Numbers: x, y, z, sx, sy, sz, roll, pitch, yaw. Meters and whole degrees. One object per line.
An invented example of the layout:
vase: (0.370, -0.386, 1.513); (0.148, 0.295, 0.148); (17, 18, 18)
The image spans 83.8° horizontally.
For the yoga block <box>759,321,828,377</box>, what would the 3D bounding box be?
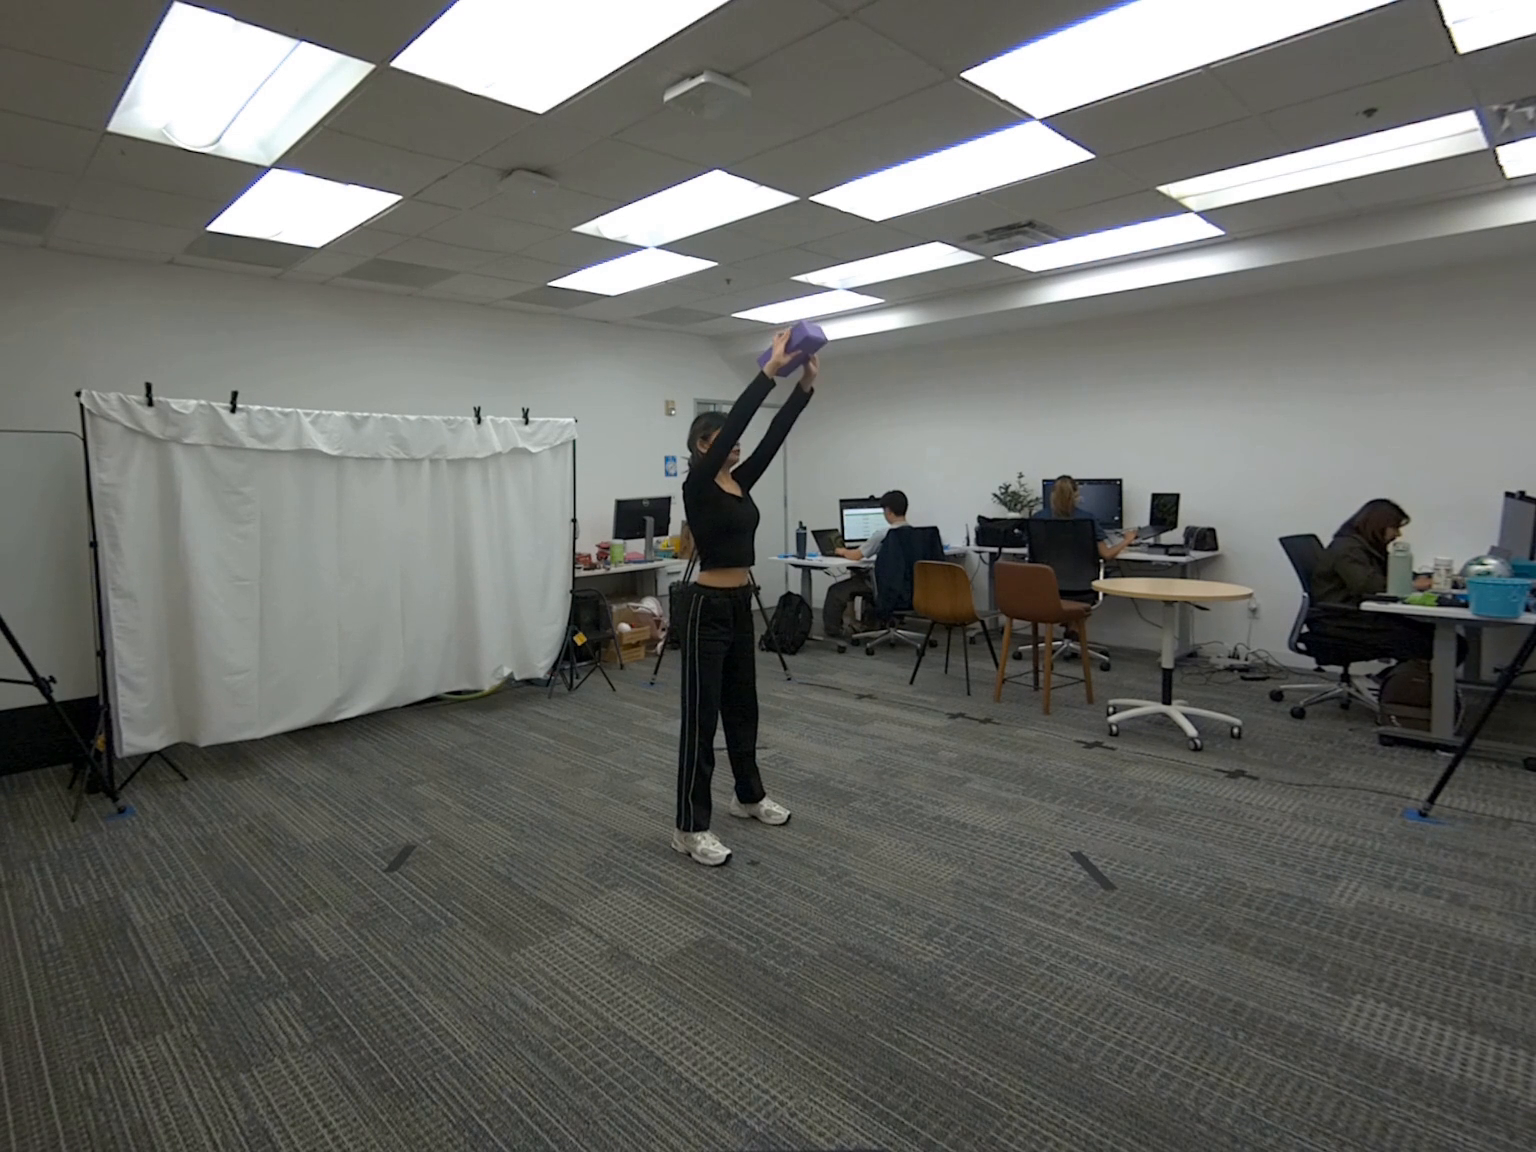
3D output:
yoga block: (0.097, -0.821, 3.125); (0.231, 0.078, 0.145); (-34, -15, 33)
